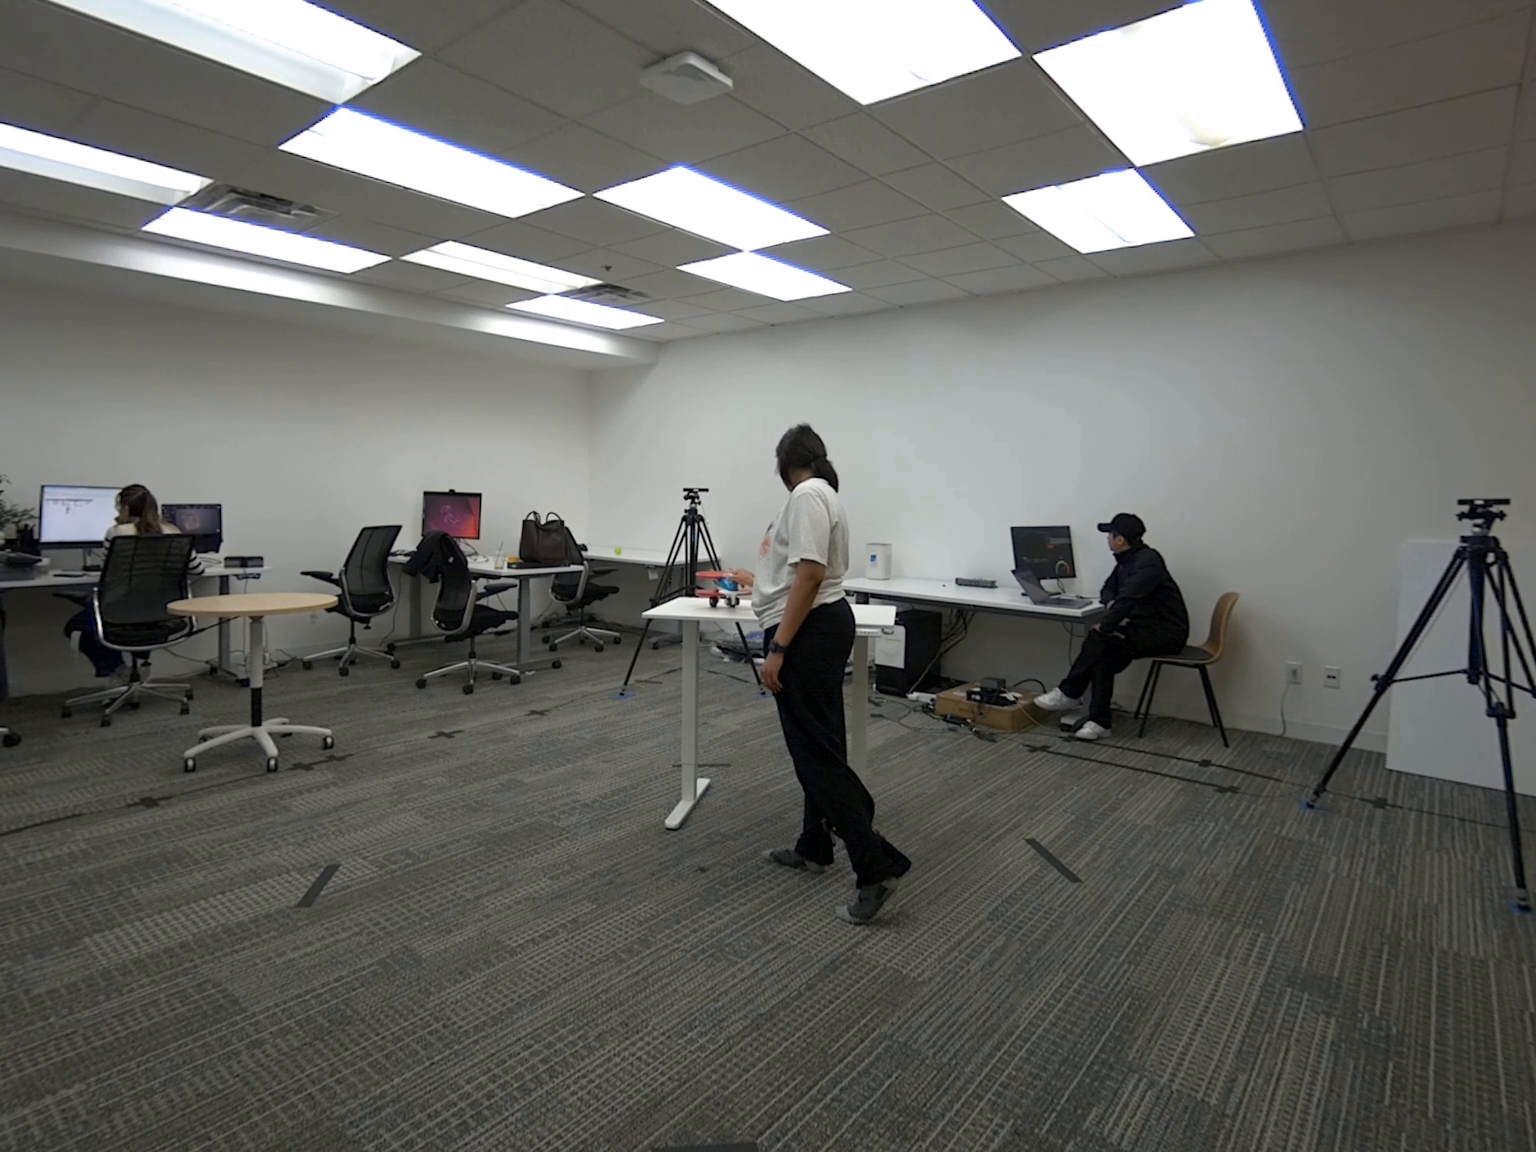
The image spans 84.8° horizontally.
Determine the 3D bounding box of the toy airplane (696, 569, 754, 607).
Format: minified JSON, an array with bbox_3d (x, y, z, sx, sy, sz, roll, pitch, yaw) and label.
[{"bbox_3d":[-0.170,0.052,3.638,0.243,0.157,0.266,4,-6,-42],"label":"toy airplane"}]
